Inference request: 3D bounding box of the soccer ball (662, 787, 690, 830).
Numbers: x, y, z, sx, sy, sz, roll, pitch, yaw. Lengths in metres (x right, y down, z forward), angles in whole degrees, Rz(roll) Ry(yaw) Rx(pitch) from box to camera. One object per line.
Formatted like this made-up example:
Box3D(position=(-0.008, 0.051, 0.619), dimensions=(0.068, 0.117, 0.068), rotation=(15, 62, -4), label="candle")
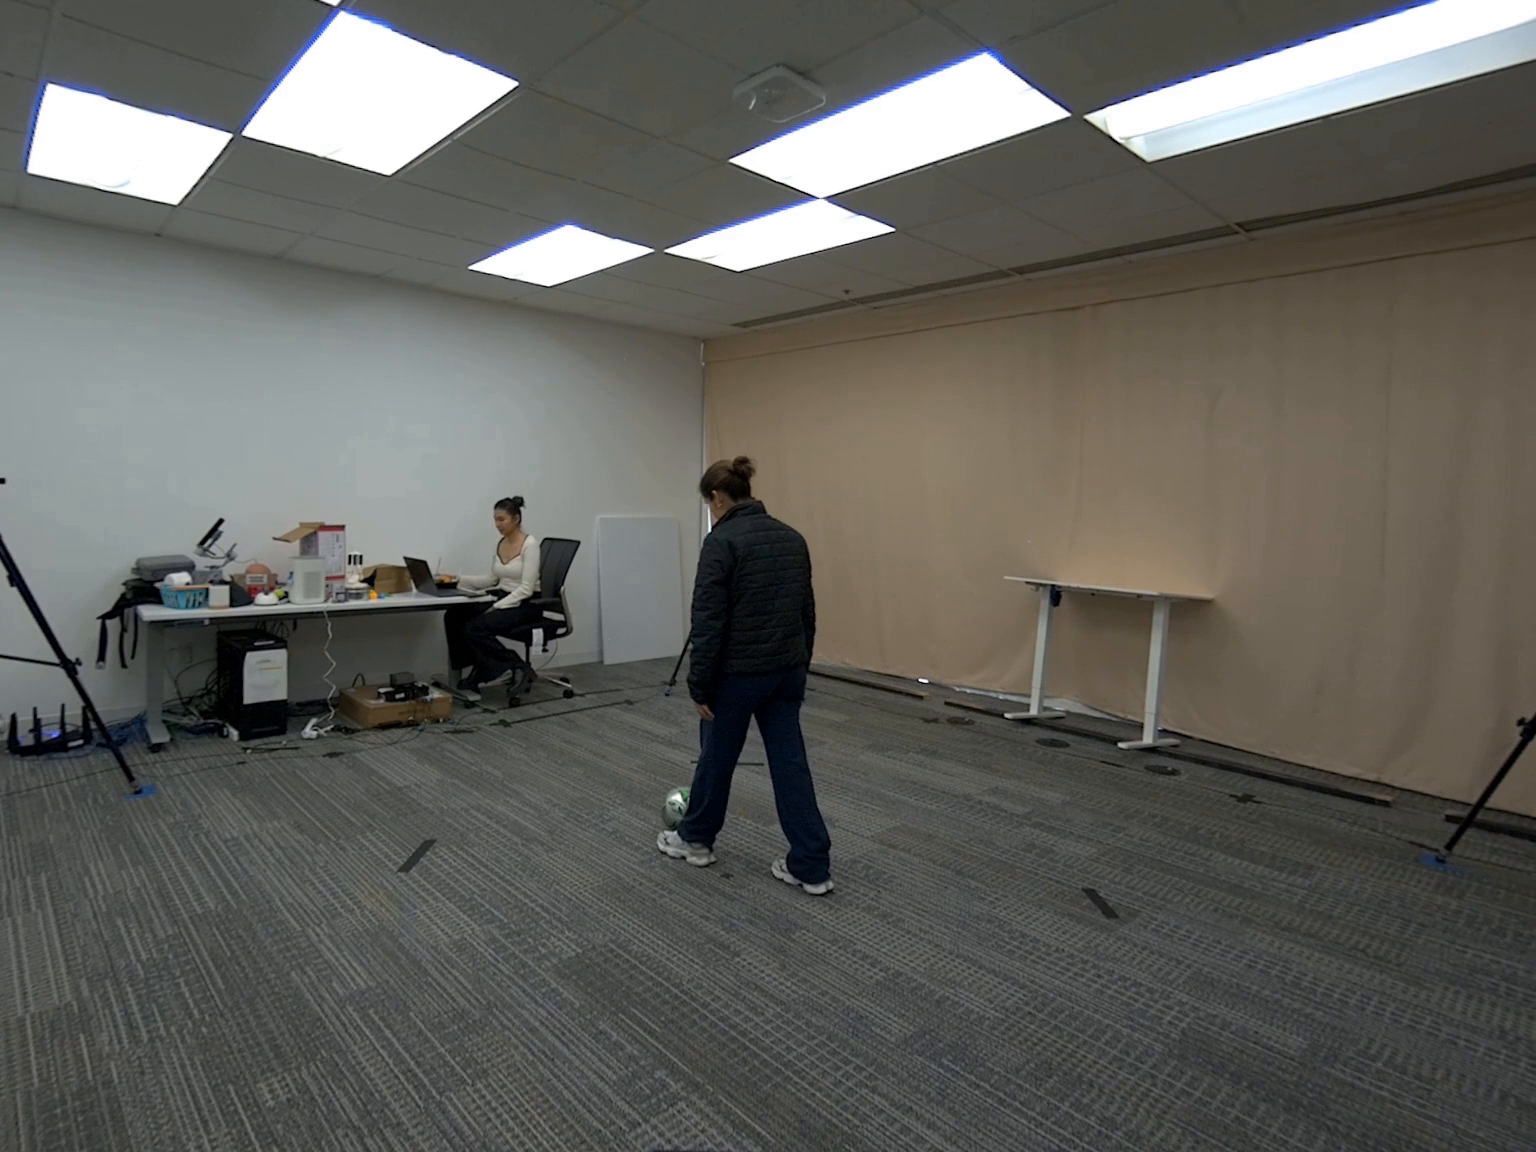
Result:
Box3D(position=(-0.360, 0.976, 3.507), dimensions=(0.187, 0.187, 0.188), rotation=(1, 4, -1), label="soccer ball")
